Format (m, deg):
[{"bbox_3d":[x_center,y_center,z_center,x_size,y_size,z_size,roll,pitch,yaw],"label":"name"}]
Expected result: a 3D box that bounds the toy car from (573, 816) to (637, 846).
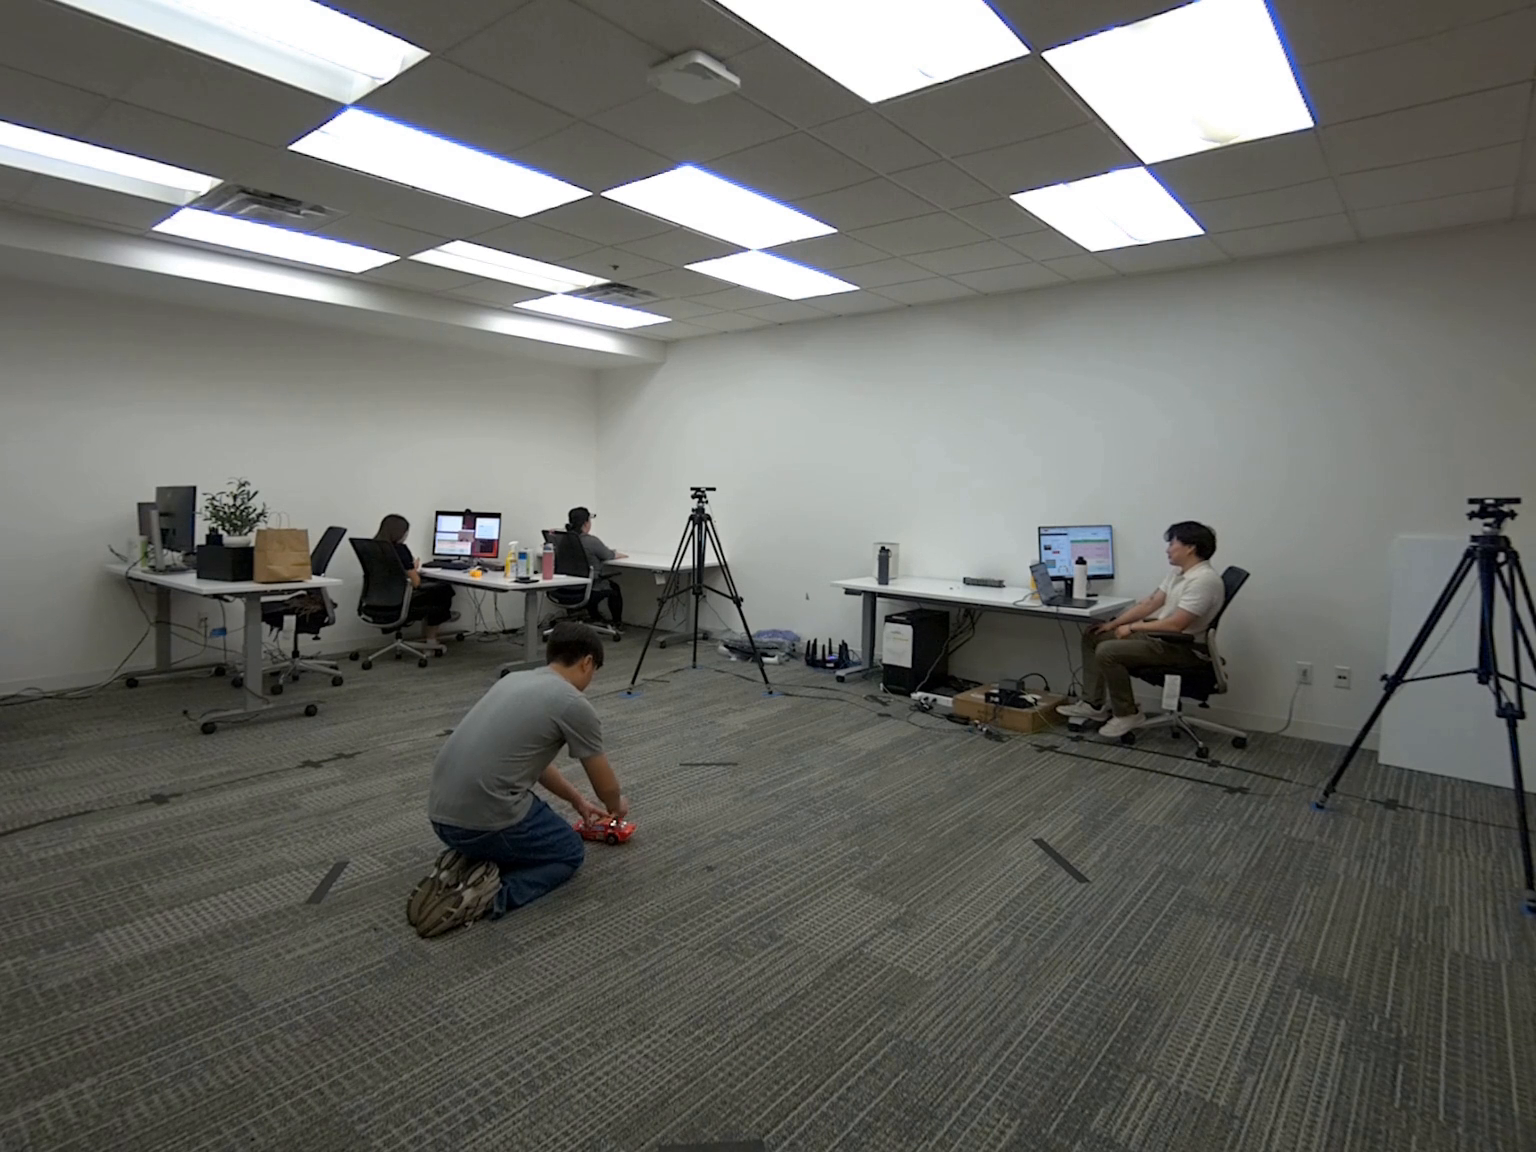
[{"bbox_3d":[-0.654,1.006,3.353,0.258,0.083,0.129,-10,3,14],"label":"toy car"}]
